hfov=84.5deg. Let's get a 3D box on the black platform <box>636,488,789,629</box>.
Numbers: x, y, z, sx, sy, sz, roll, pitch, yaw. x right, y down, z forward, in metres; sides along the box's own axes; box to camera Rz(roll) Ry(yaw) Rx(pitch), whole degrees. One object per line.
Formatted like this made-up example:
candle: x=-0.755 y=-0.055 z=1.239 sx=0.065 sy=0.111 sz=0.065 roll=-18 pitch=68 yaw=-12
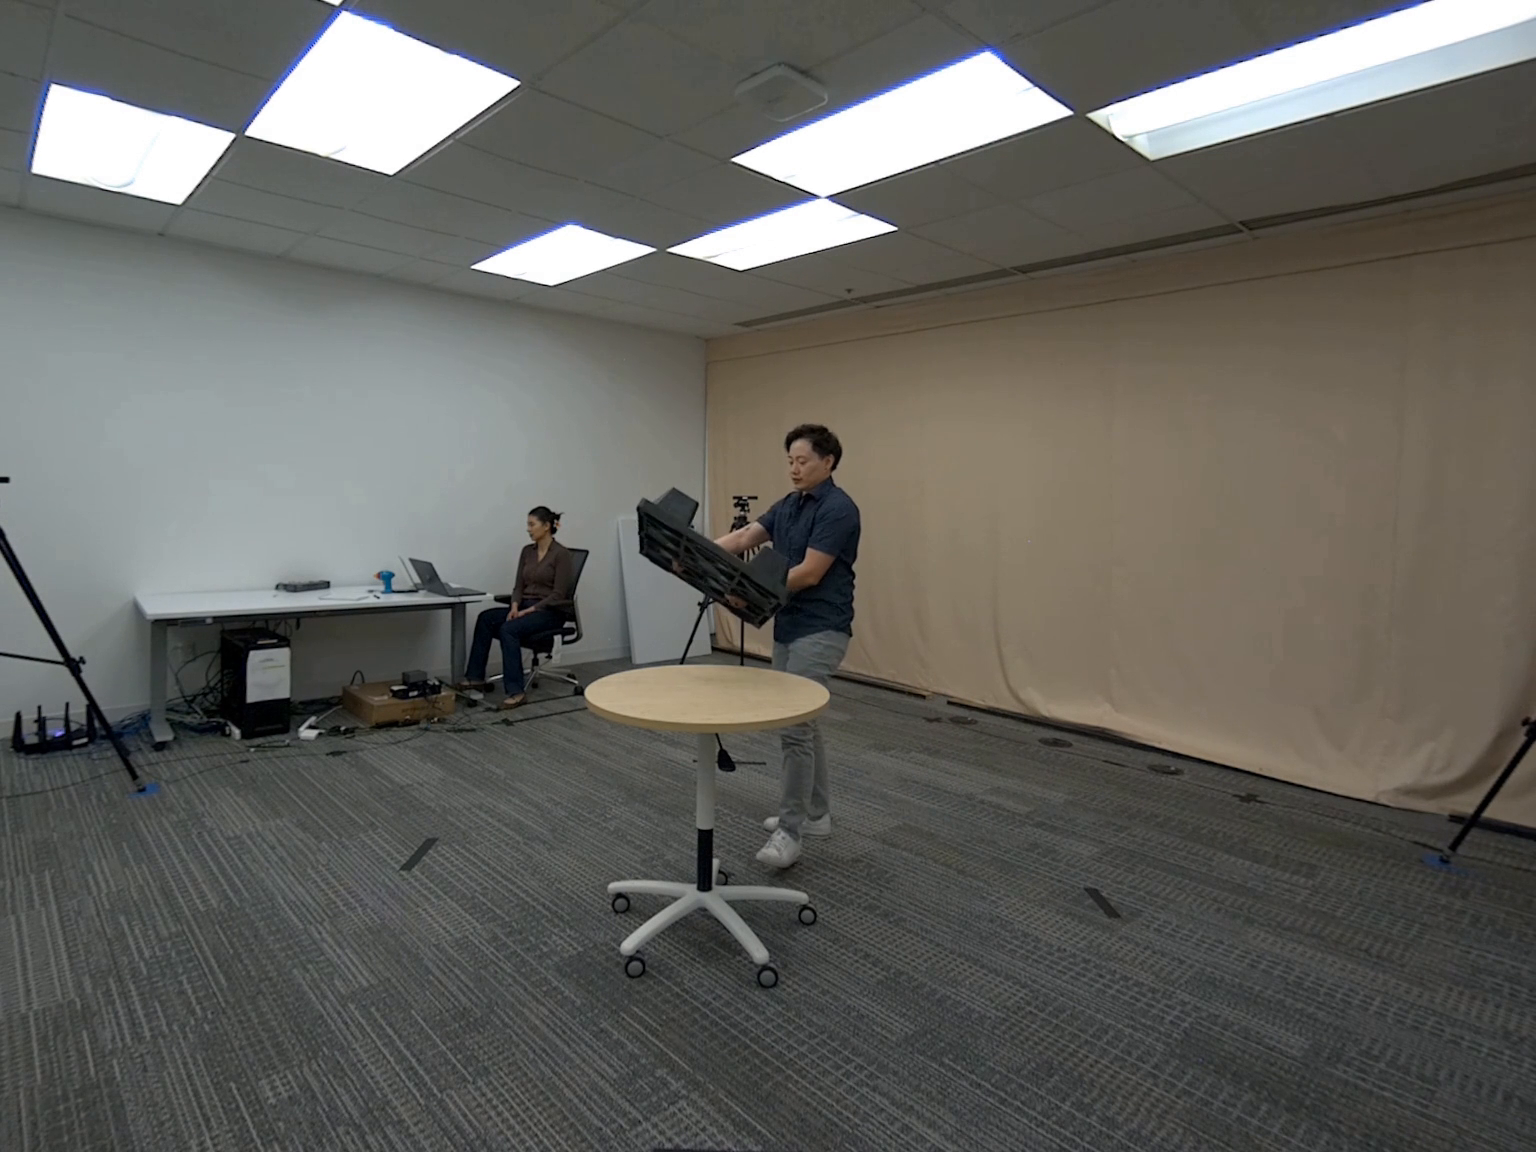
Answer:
black platform: x=-0.212 y=-0.057 z=3.184 sx=0.606 sy=0.143 sz=0.803 roll=34 pitch=-13 yaw=0
